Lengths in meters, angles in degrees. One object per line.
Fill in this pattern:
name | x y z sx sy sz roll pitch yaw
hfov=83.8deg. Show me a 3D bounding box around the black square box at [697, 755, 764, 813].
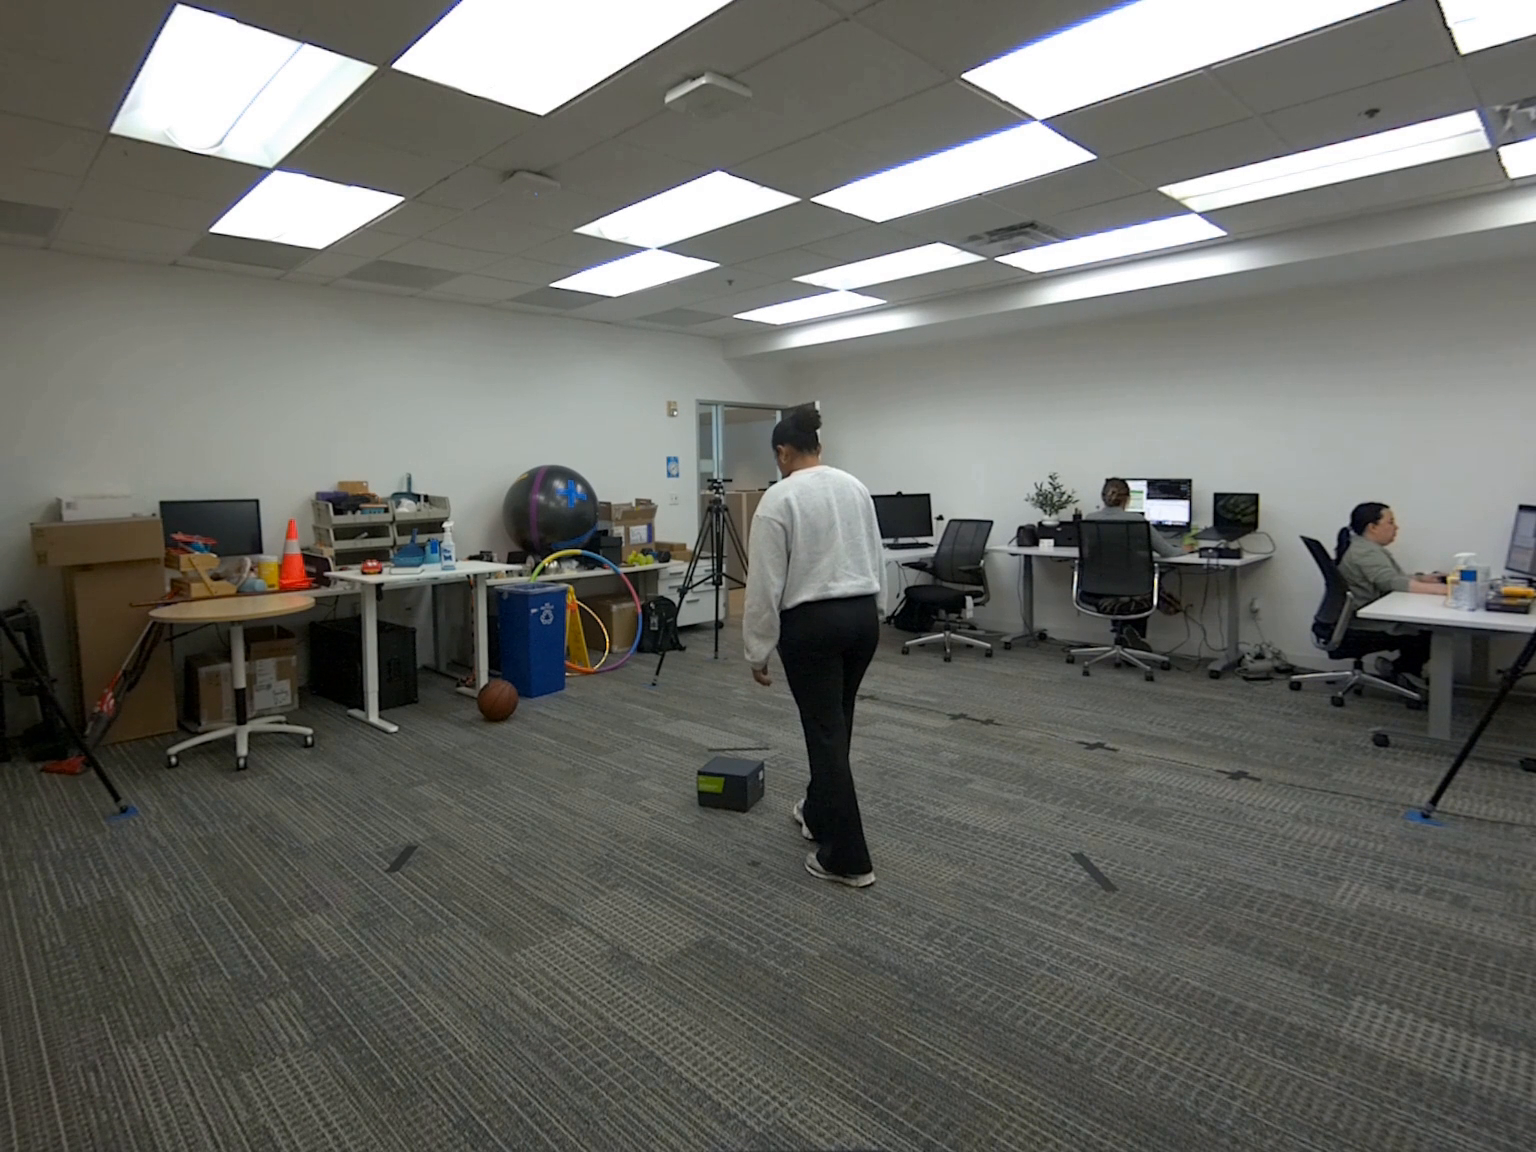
black square box | -0.153 0.893 3.708 0.233 0.155 0.213 1 6 22
